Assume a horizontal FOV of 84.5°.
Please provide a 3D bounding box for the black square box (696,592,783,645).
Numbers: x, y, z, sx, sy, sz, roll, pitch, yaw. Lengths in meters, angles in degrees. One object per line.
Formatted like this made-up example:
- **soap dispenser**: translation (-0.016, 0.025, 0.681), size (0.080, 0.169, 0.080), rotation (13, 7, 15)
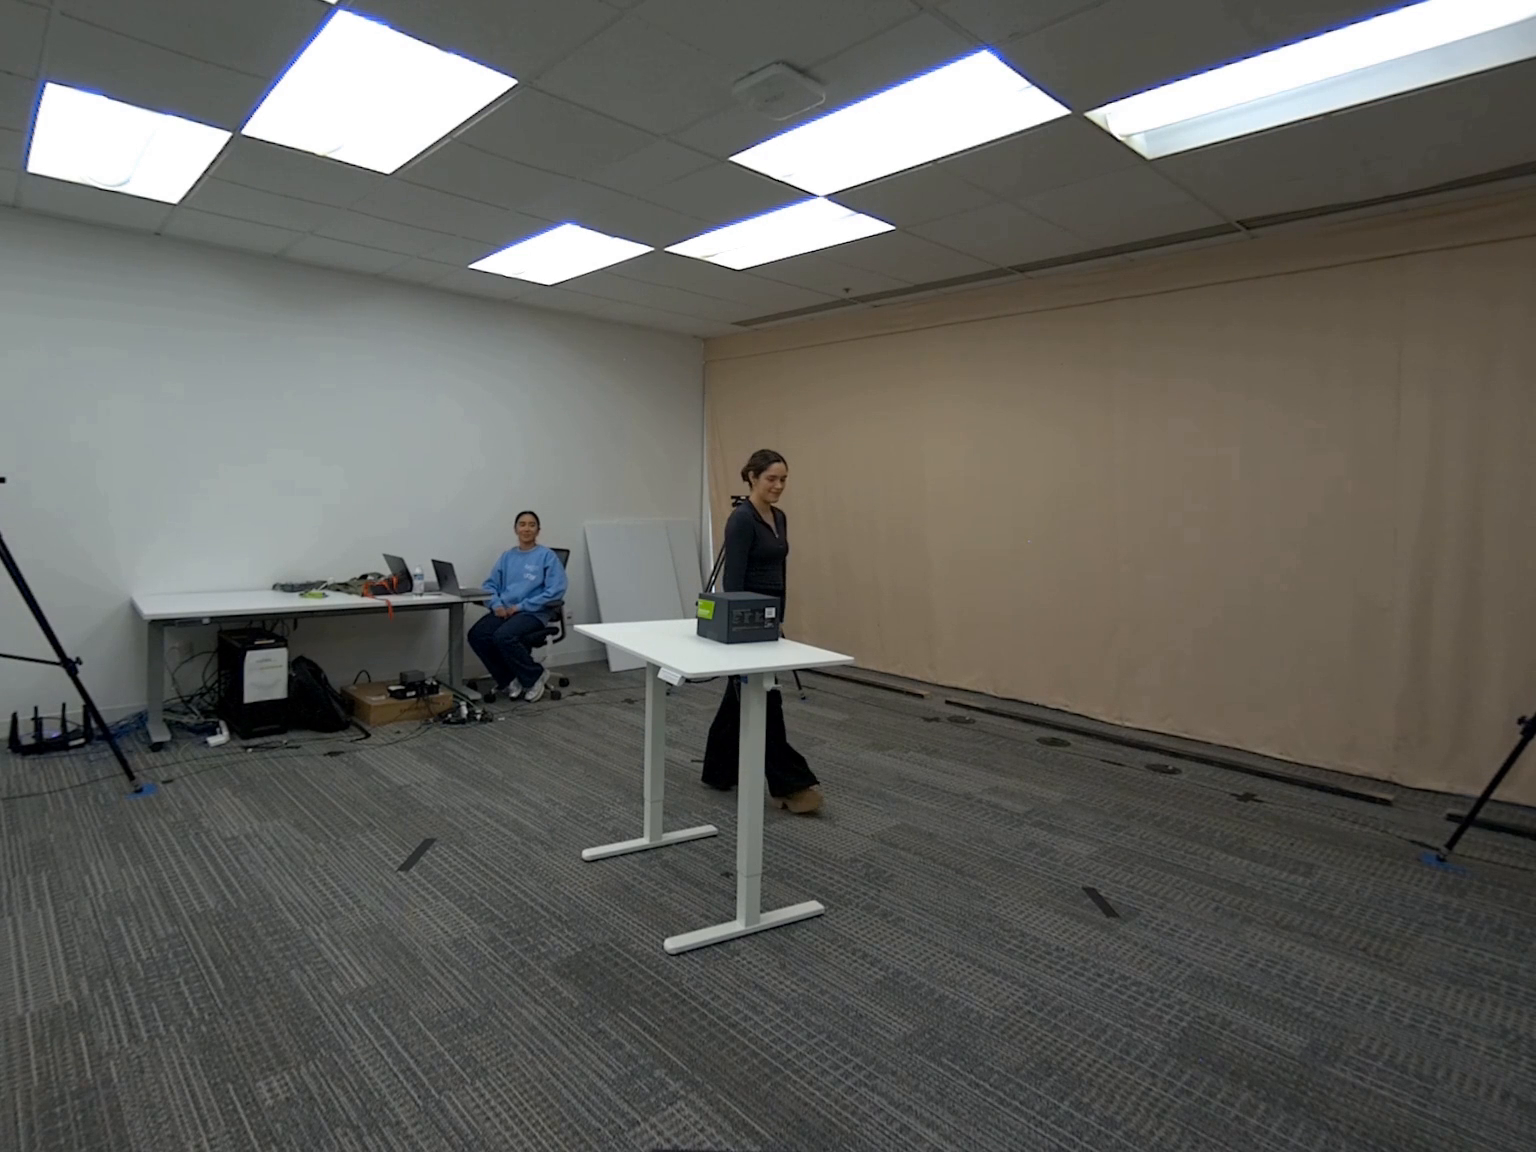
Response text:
- **black square box**: translation (-0.119, 0.147, 3.048), size (0.212, 0.155, 0.233), rotation (-1, 5, -31)
